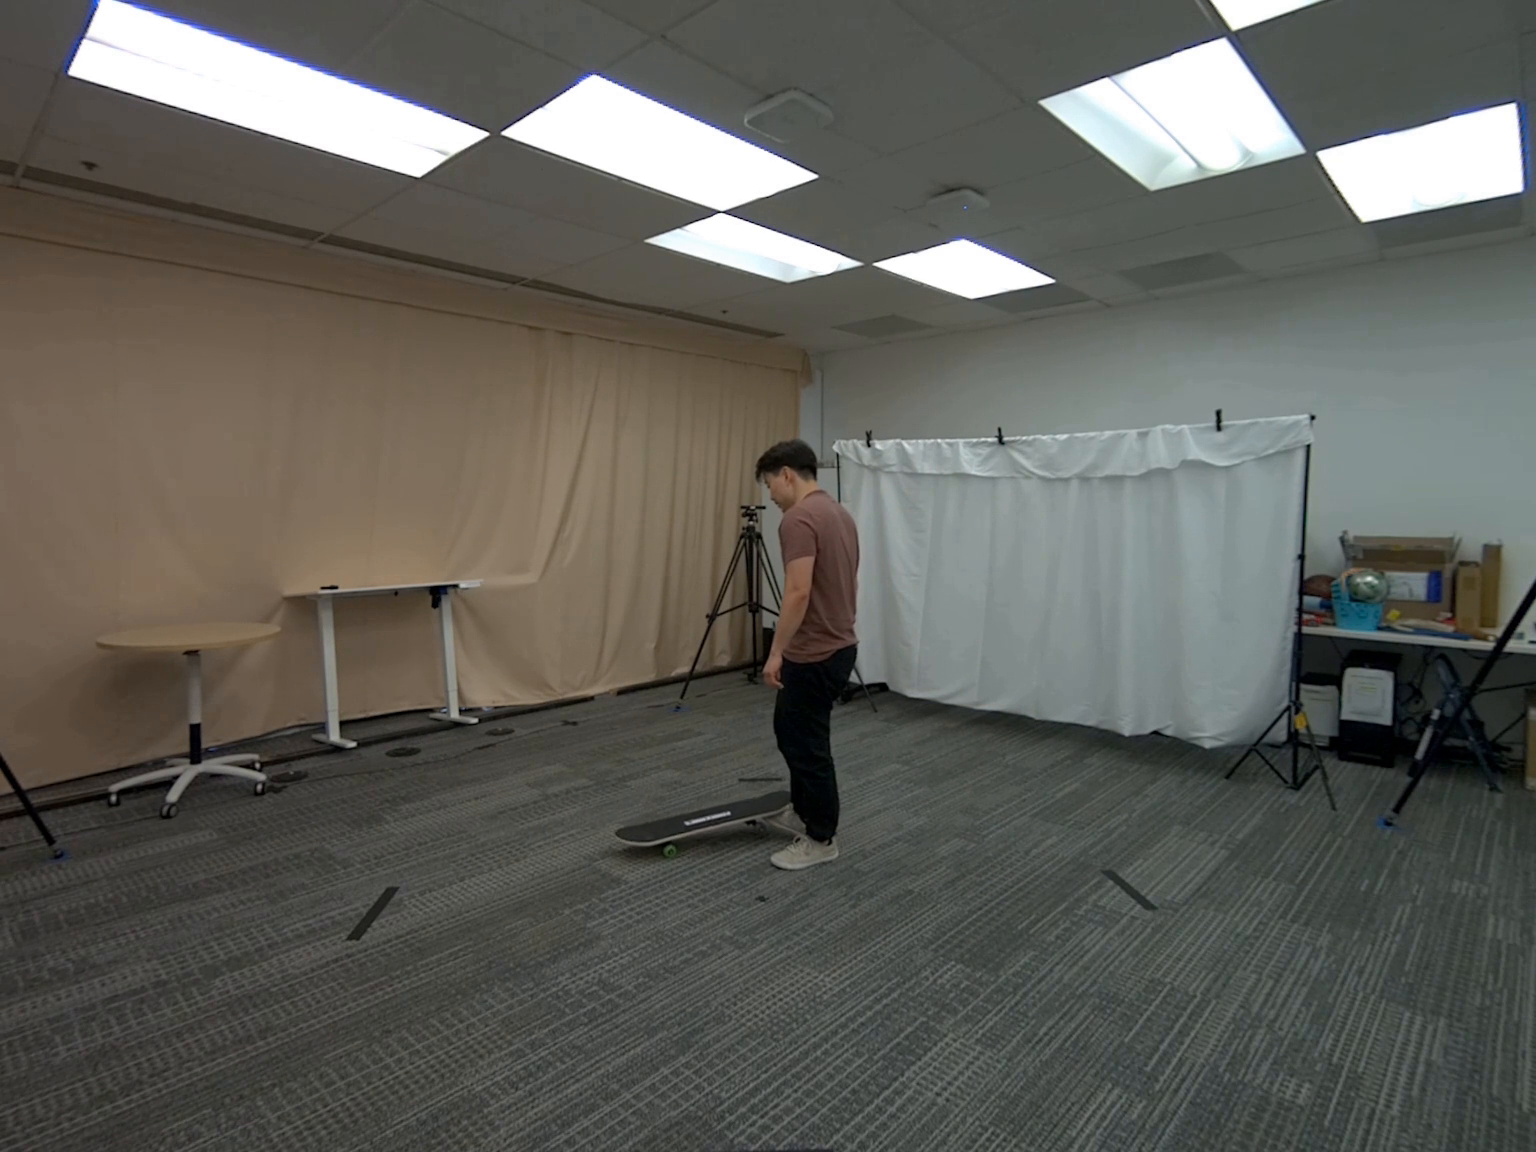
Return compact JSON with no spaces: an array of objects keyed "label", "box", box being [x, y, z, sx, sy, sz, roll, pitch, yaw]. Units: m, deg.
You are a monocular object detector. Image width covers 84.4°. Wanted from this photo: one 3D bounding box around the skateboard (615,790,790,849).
[{"label":"skateboard","box":[-0.251,1.035,3.477,0.769,0.110,0.198,-7,7,-22]}]
